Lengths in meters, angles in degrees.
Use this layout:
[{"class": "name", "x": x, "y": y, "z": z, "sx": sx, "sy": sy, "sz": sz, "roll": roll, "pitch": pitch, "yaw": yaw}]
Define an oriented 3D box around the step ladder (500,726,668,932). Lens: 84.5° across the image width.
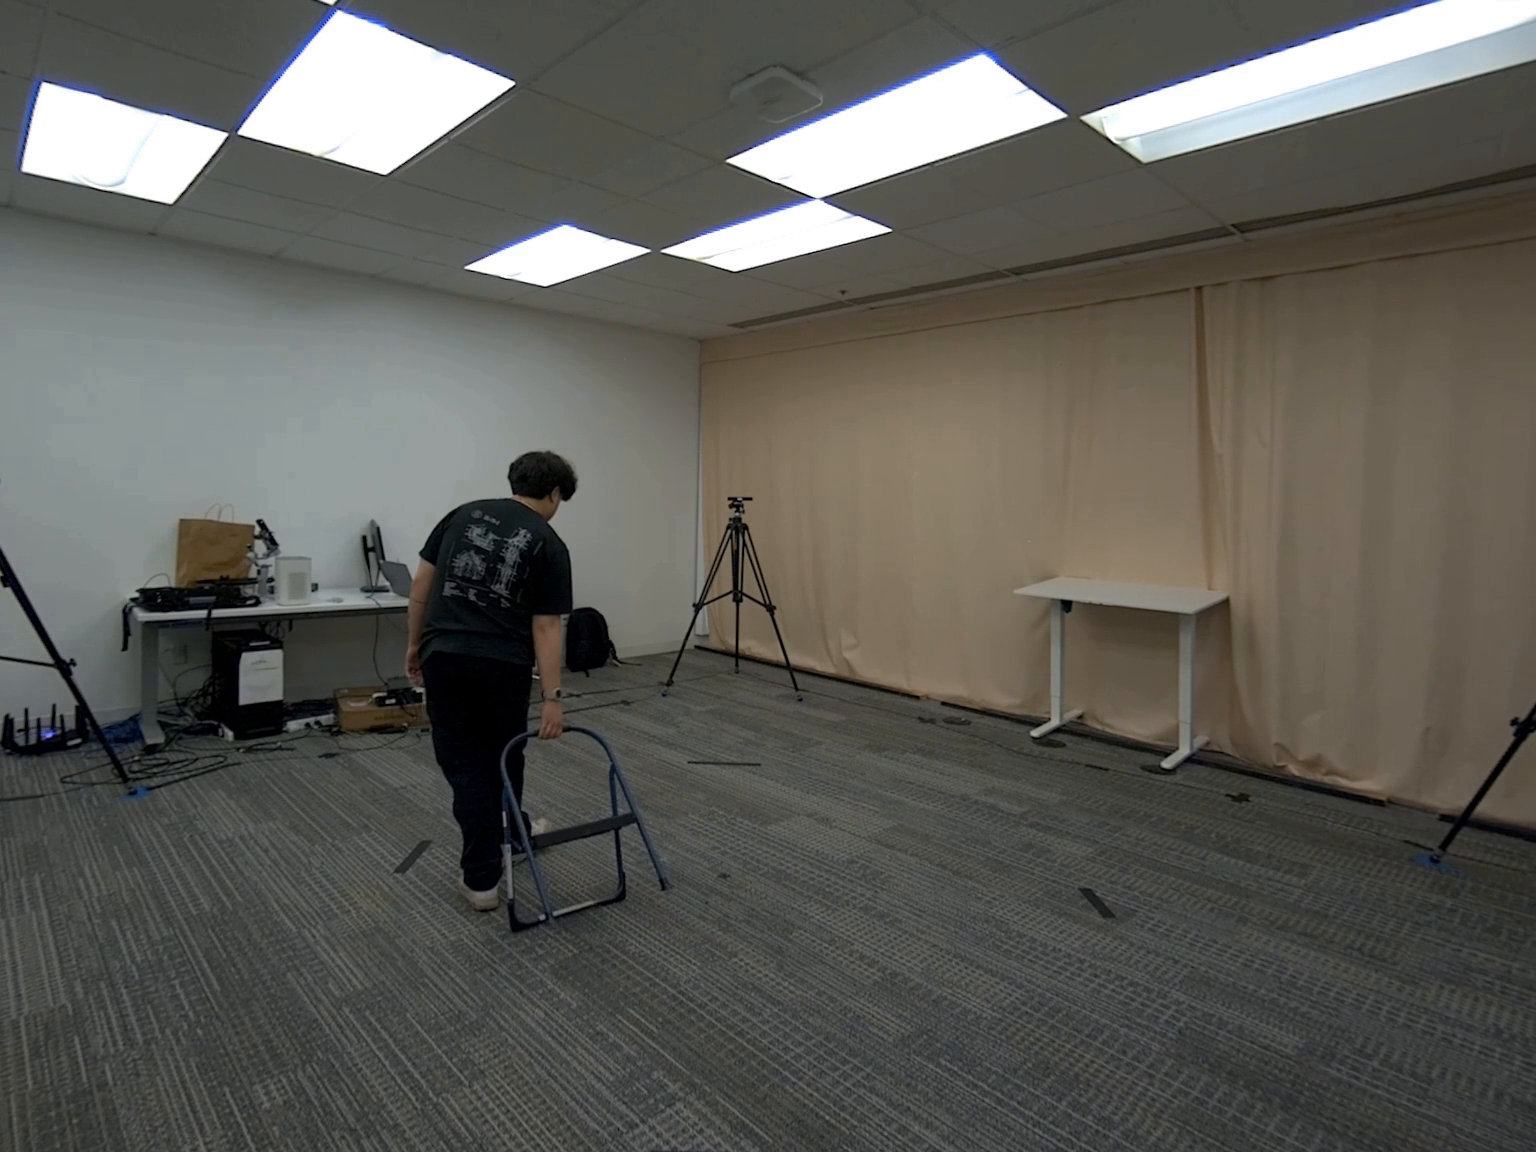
[{"class": "step ladder", "x": -0.647, "y": 0.788, "z": 2.766, "sx": 0.421, "sy": 0.616, "sz": 0.351, "roll": -1, "pitch": -23, "yaw": -39}]
